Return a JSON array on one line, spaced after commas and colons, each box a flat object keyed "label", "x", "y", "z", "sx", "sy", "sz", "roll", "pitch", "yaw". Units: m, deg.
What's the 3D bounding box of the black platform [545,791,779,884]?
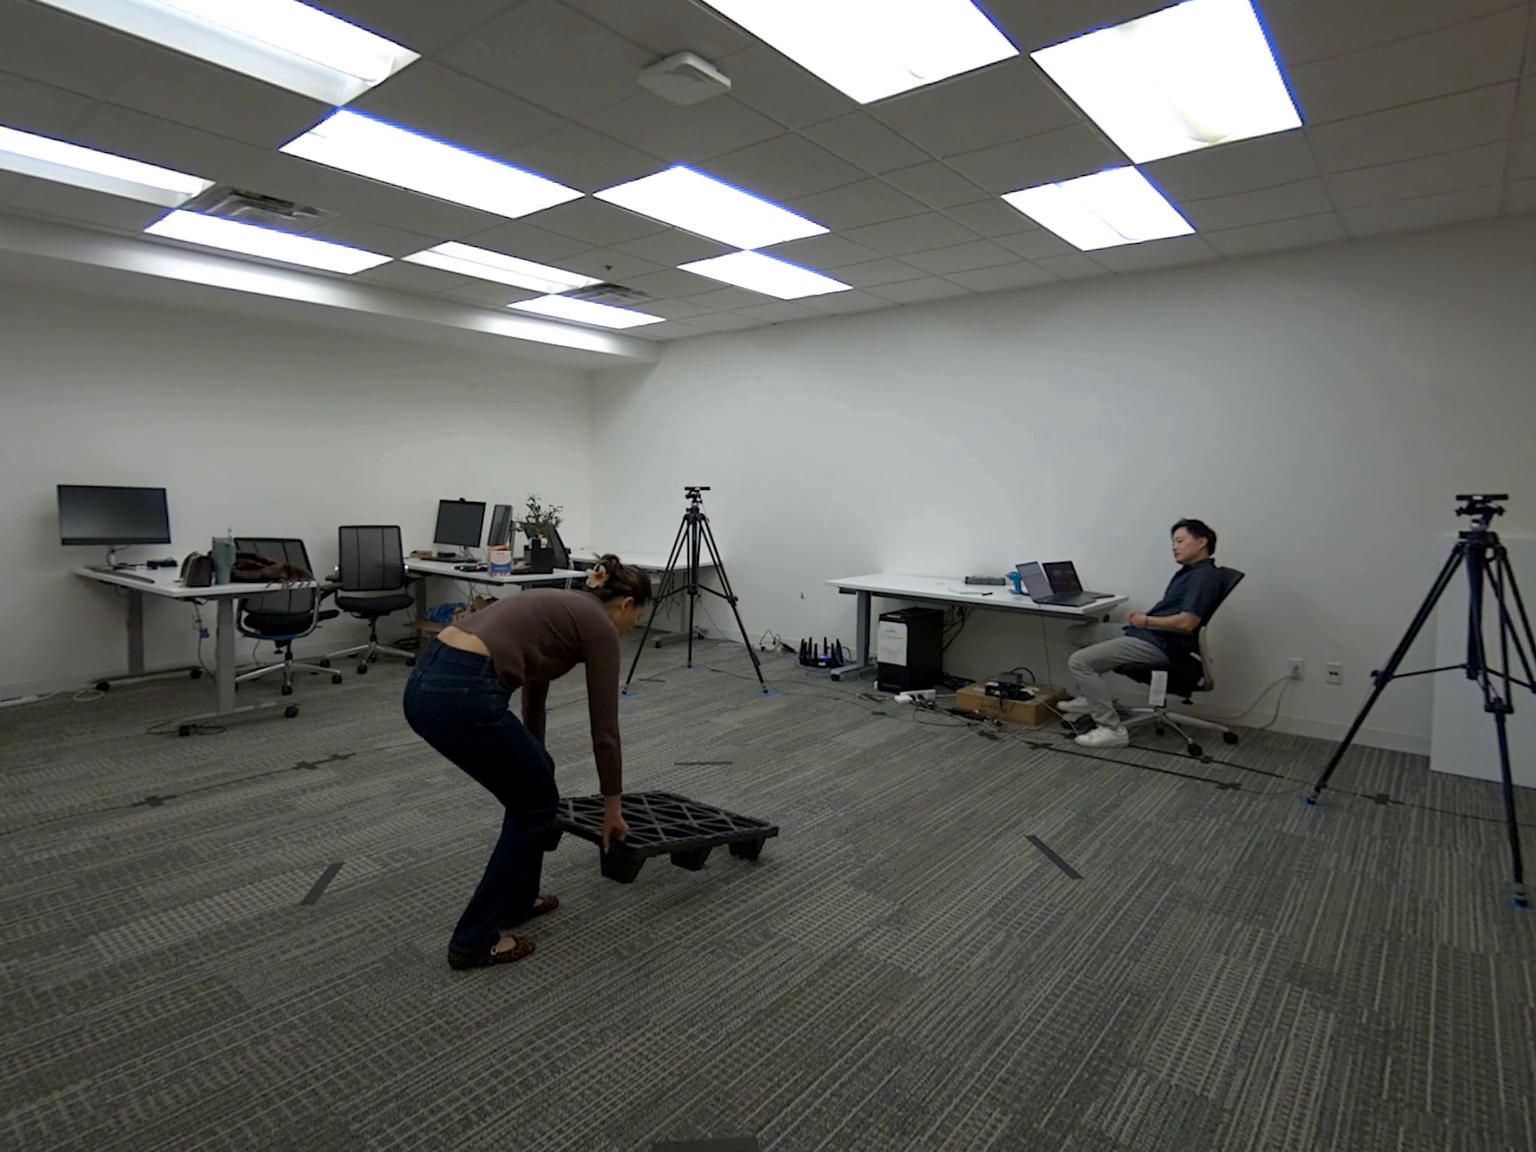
[{"label": "black platform", "x": -0.441, "y": 0.925, "z": 3.065, "sx": 0.625, "sy": 0.144, "sz": 0.776, "roll": 4, "pitch": -7, "yaw": 37}]
